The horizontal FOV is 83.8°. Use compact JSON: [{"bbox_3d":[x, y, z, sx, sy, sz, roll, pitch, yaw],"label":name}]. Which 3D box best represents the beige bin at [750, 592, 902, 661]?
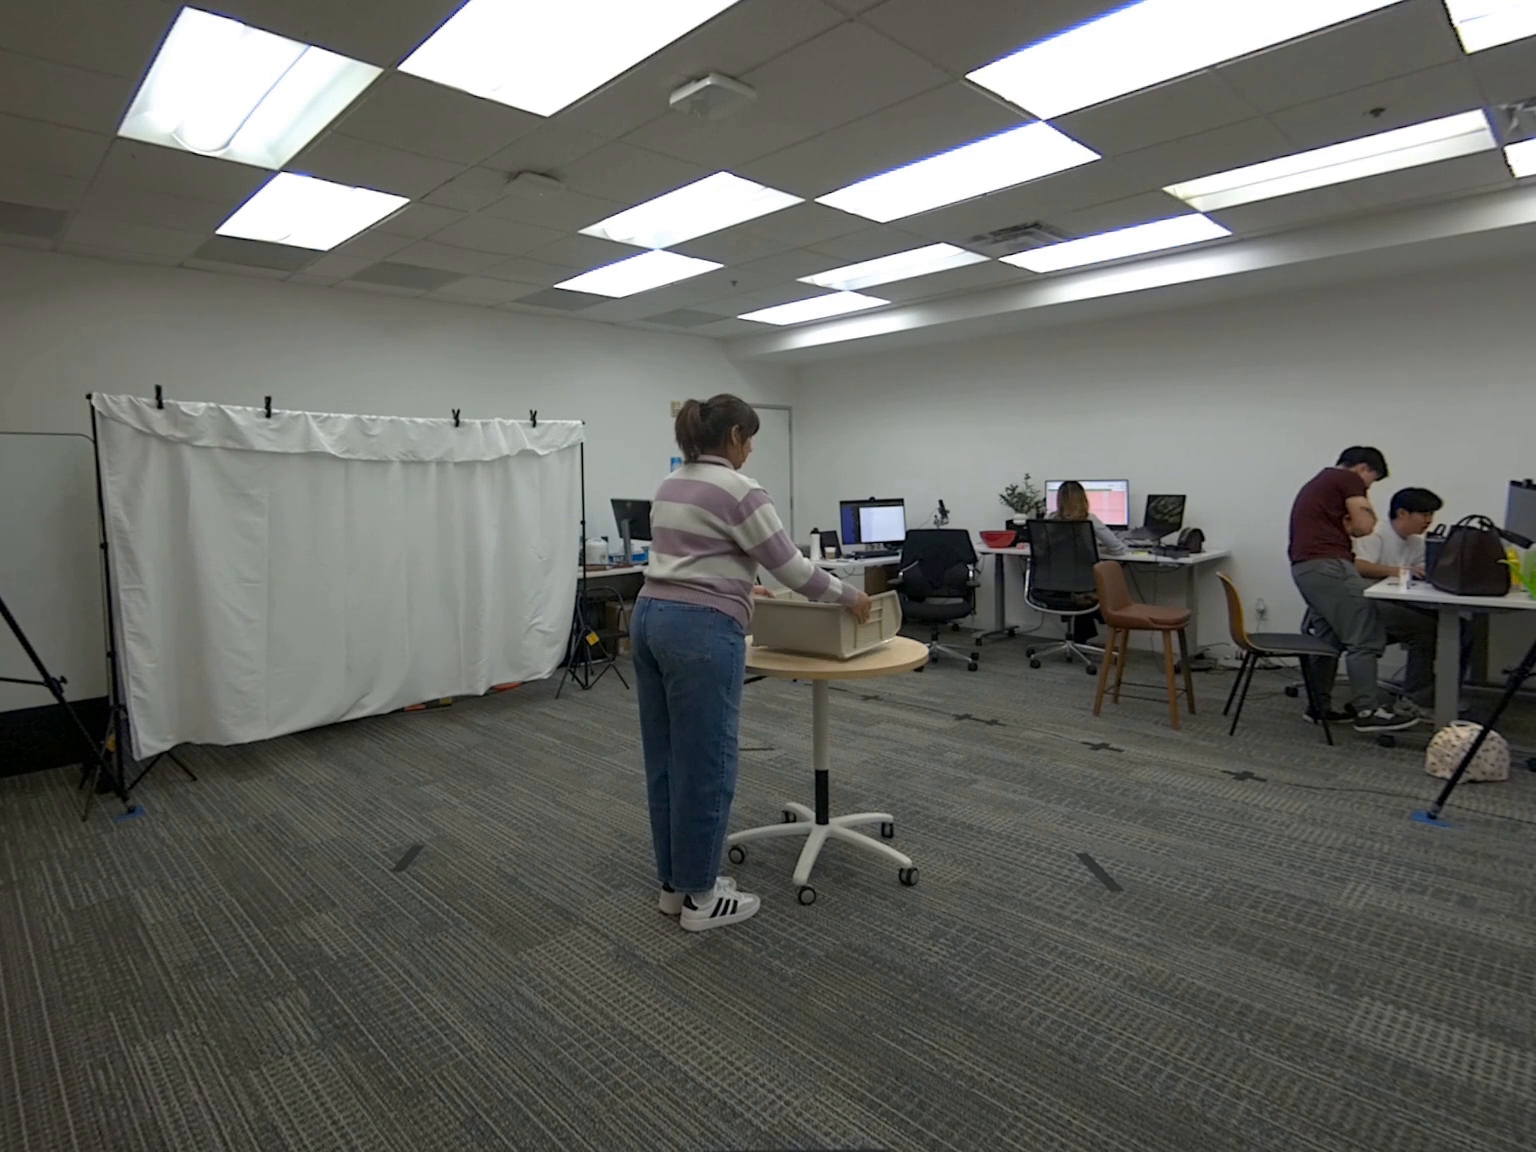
[{"bbox_3d":[0.201,0.144,3.068,0.435,0.187,0.369,3,11,40],"label":"beige bin"}]
